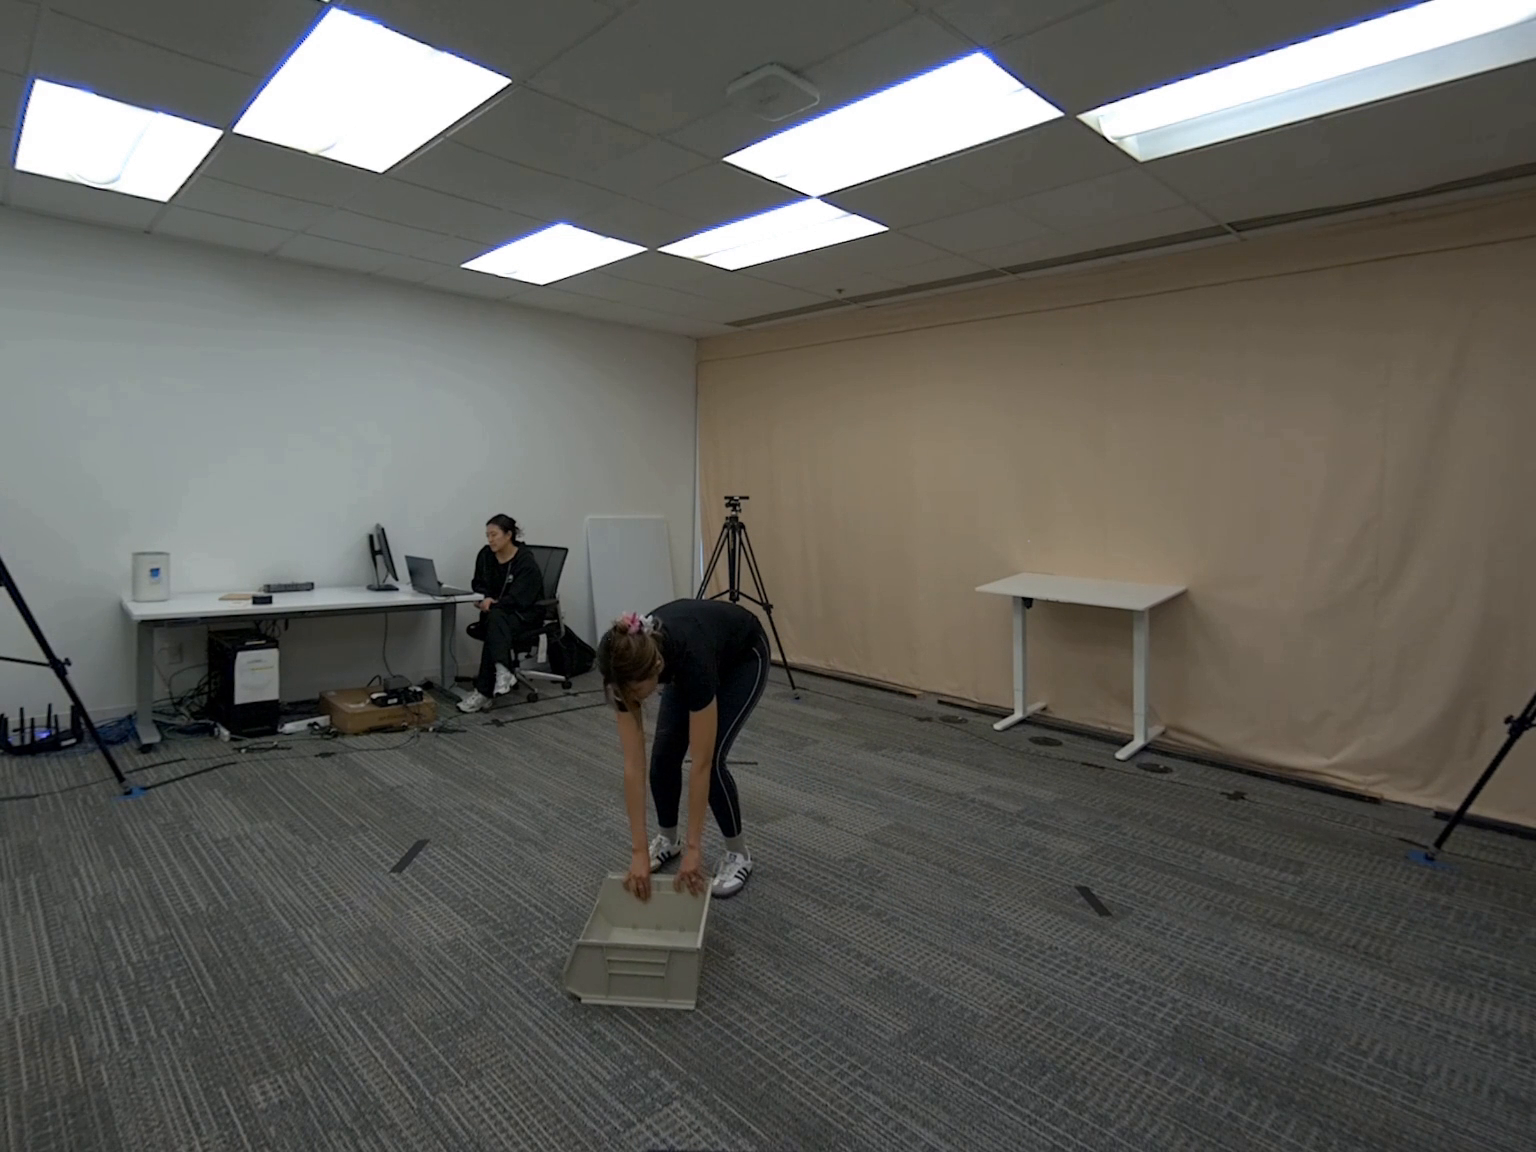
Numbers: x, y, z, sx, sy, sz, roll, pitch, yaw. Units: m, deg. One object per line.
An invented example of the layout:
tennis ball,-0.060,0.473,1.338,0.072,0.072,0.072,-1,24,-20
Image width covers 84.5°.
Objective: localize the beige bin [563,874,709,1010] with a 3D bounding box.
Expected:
beige bin,-0.379,1.069,2.487,0.378,0.188,0.422,2,4,2
